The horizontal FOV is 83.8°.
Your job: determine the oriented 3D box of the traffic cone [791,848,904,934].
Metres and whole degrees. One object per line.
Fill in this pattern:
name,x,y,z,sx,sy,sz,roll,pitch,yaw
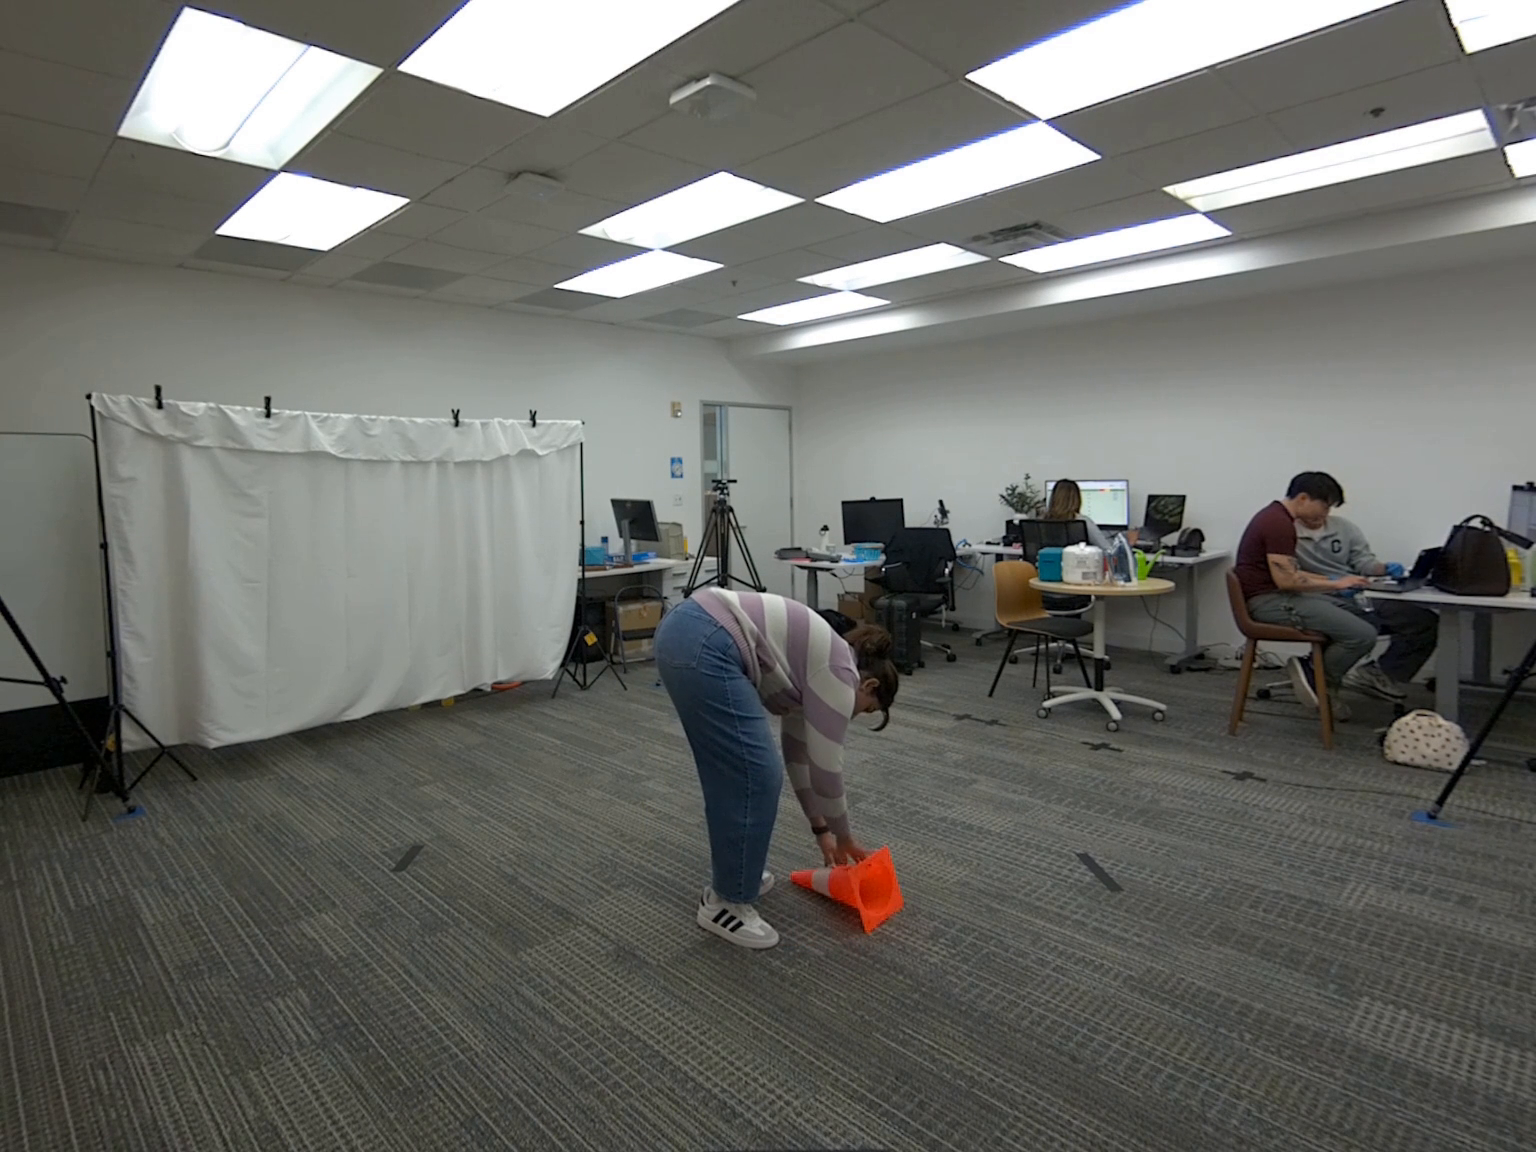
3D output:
traffic cone,0.213,1.020,2.821,0.200,0.204,0.391,-14,-3,-42
